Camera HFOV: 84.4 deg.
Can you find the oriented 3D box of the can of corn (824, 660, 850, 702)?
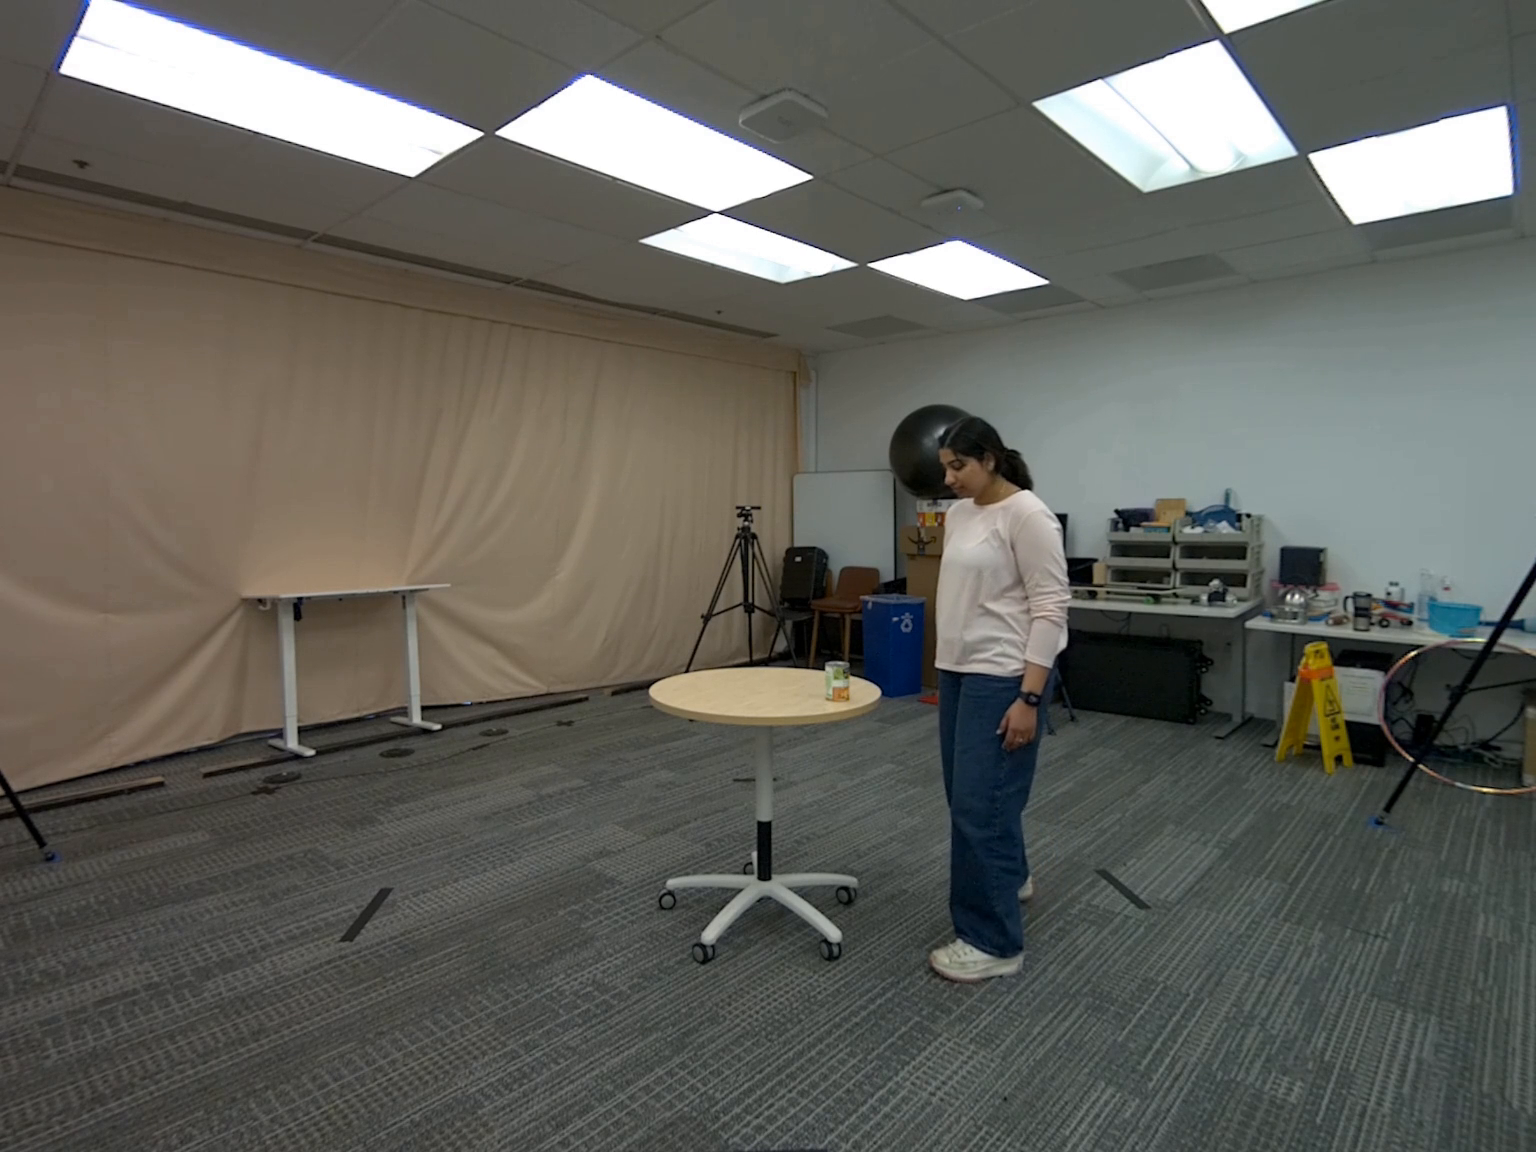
[{"bbox_3d":[0.227,0.333,2.634,0.074,0.111,0.074,1,2,-2],"label":"can of corn"}]
